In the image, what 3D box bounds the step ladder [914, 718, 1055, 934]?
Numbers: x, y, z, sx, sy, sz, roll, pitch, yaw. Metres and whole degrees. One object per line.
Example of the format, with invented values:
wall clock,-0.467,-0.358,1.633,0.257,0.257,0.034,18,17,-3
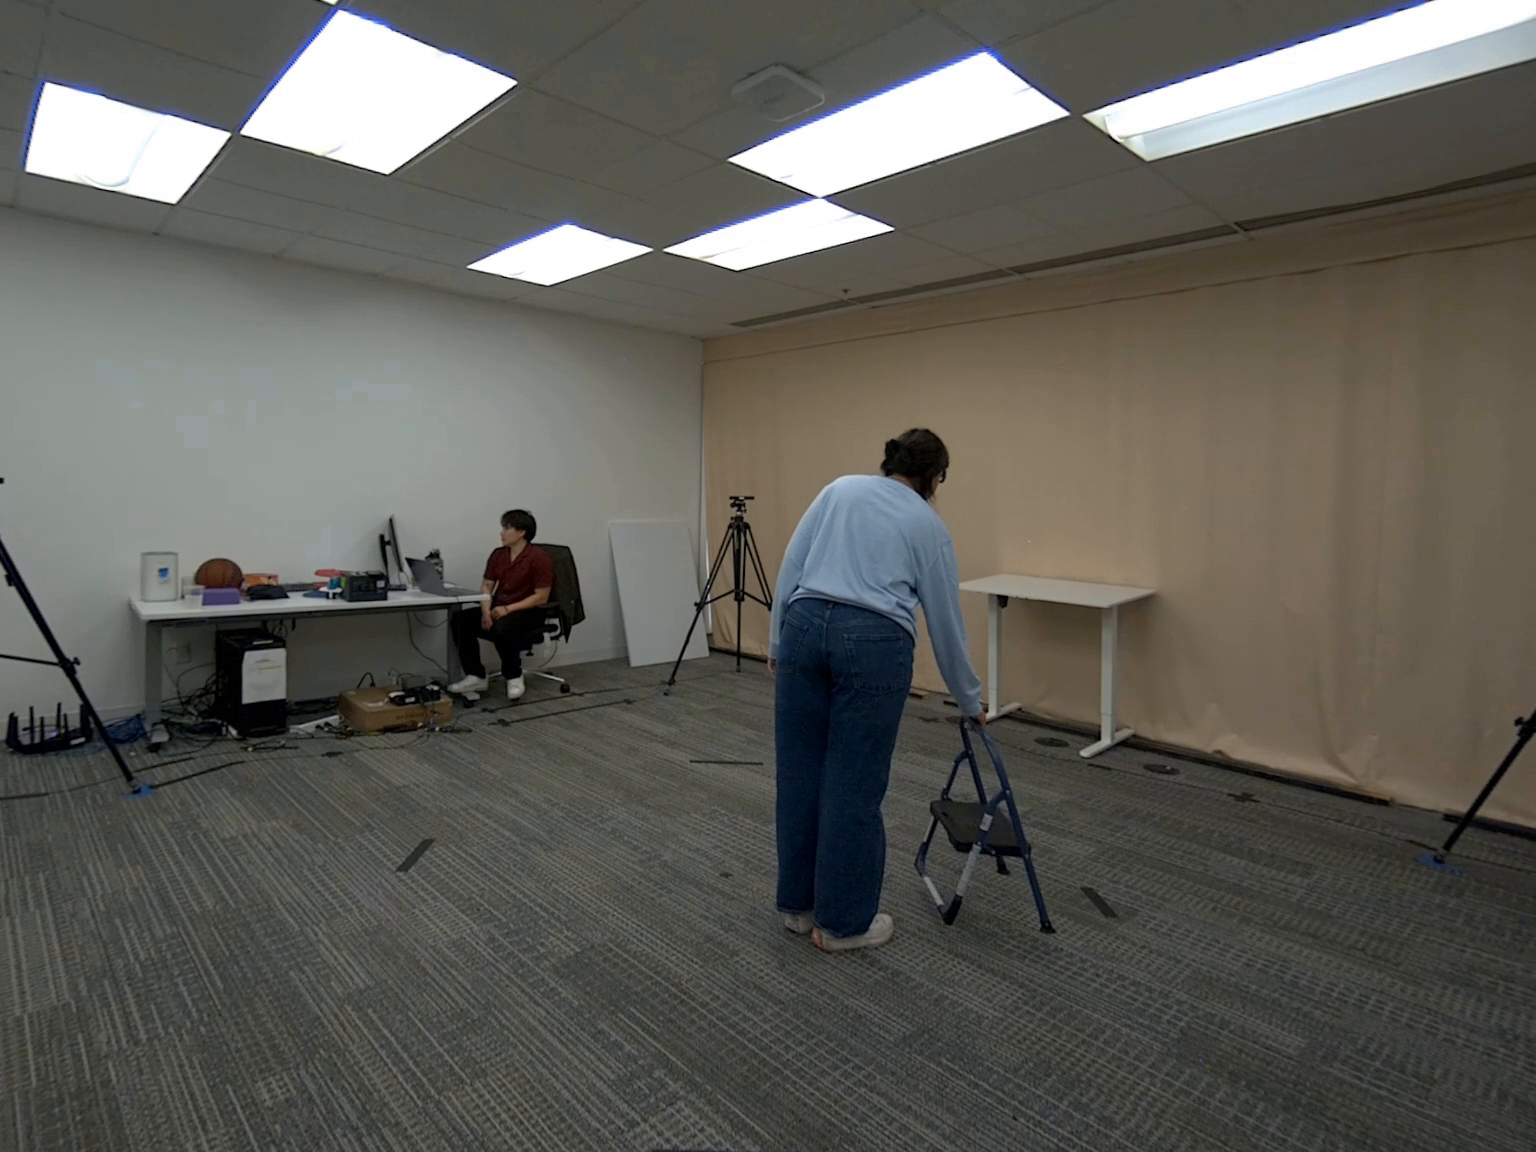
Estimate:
step ladder,0.725,0.784,2.810,0.348,0.604,0.433,4,4,-4
